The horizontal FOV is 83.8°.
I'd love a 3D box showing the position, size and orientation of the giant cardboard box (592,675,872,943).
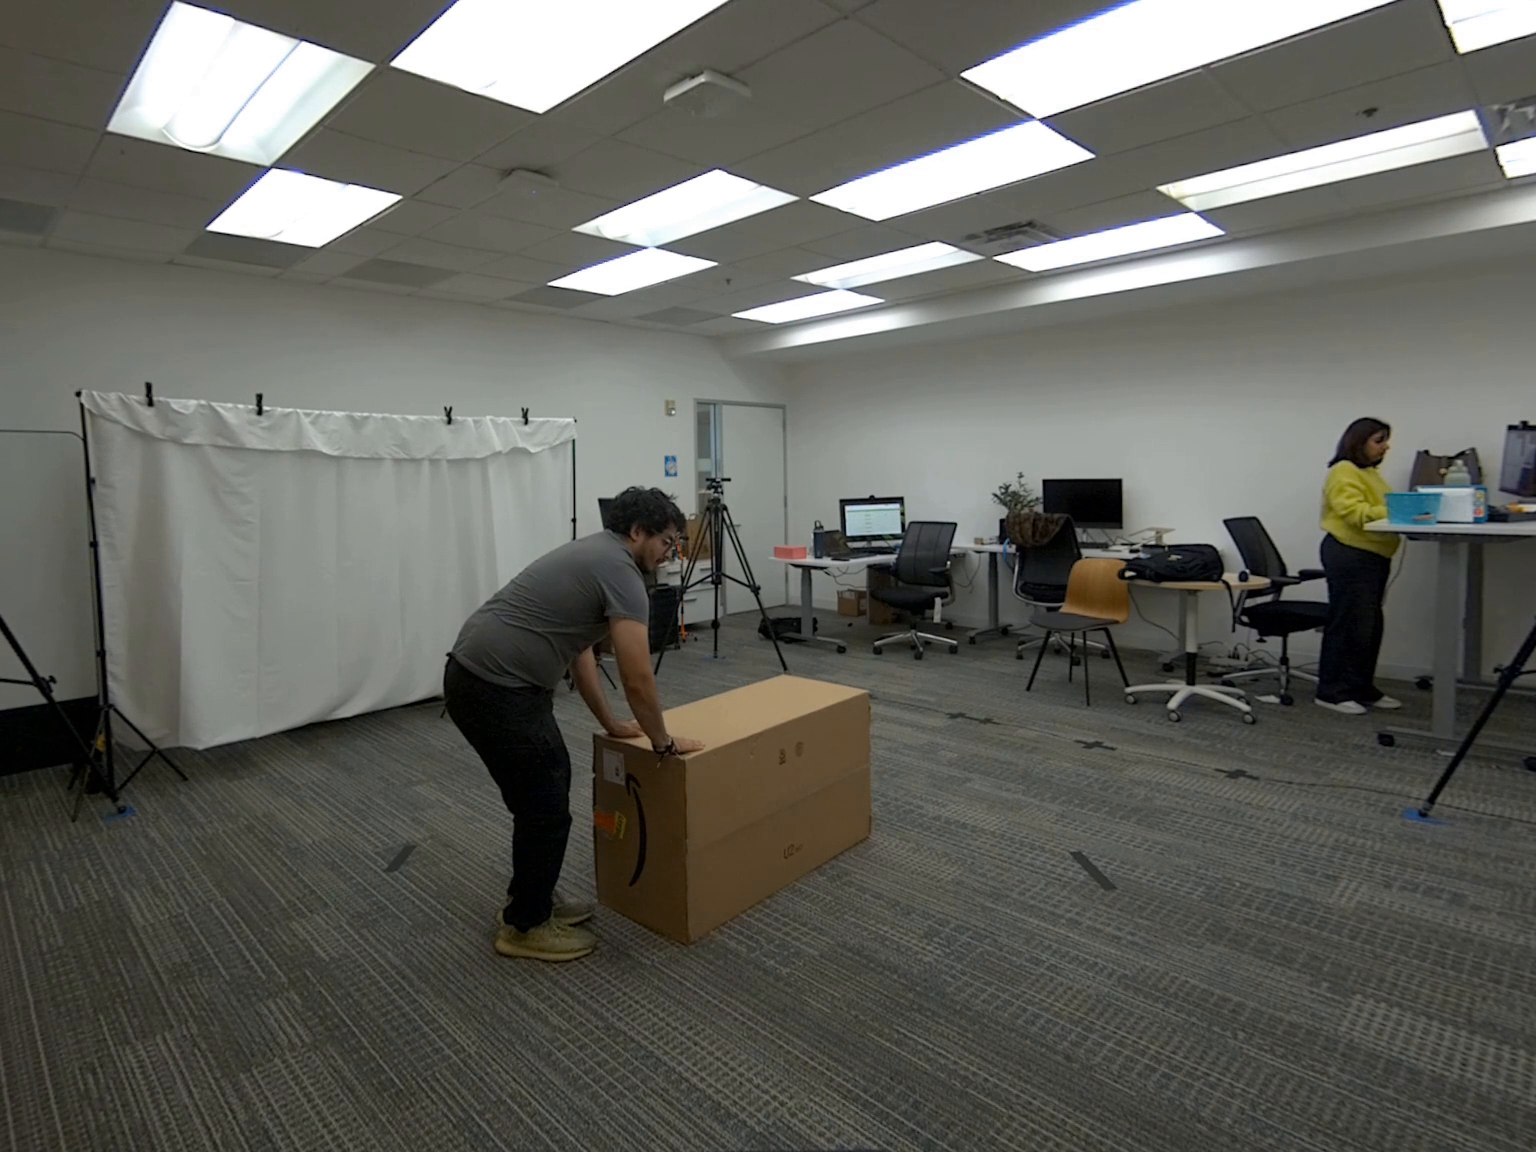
[{"bbox_3d":[-0.090,0.758,3.063,0.439,0.575,1.000,2,7,40],"label":"giant cardboard box"}]
